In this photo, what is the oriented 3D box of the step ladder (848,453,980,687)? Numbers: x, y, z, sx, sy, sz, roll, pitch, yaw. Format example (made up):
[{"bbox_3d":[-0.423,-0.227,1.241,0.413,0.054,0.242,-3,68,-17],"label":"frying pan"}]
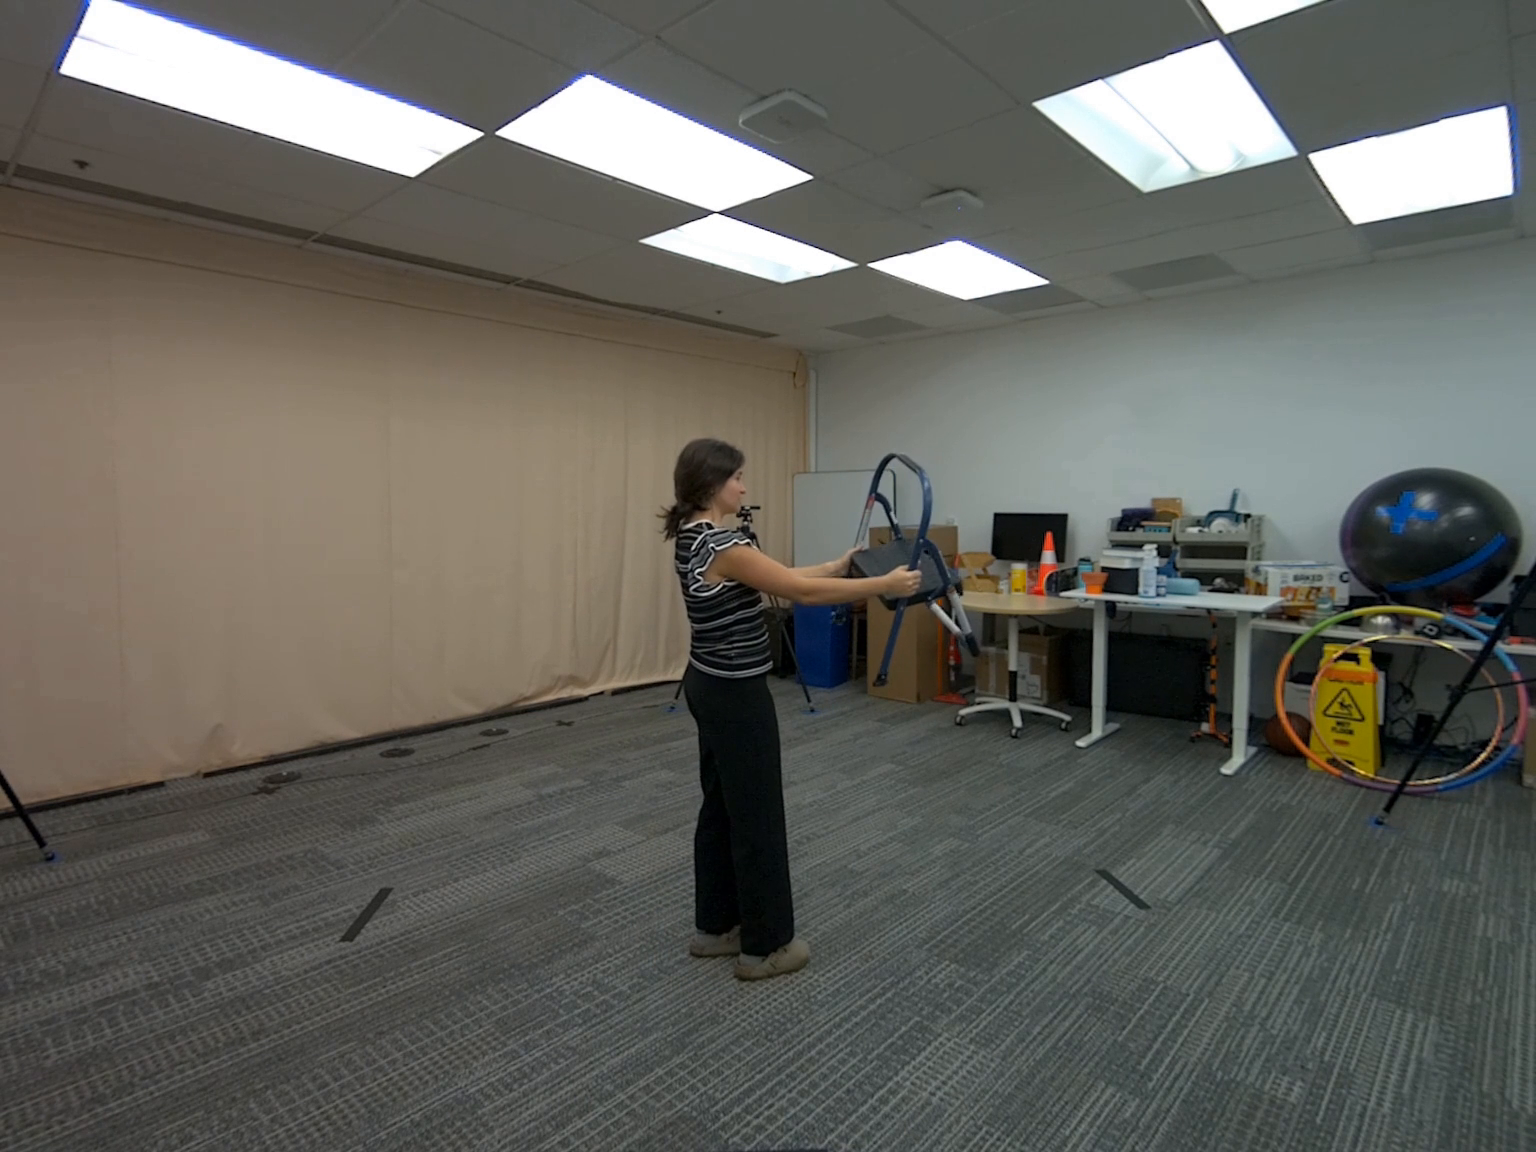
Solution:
[{"bbox_3d":[0.402,-0.058,2.639,0.347,0.594,0.442,-14,28,-8],"label":"step ladder"}]
